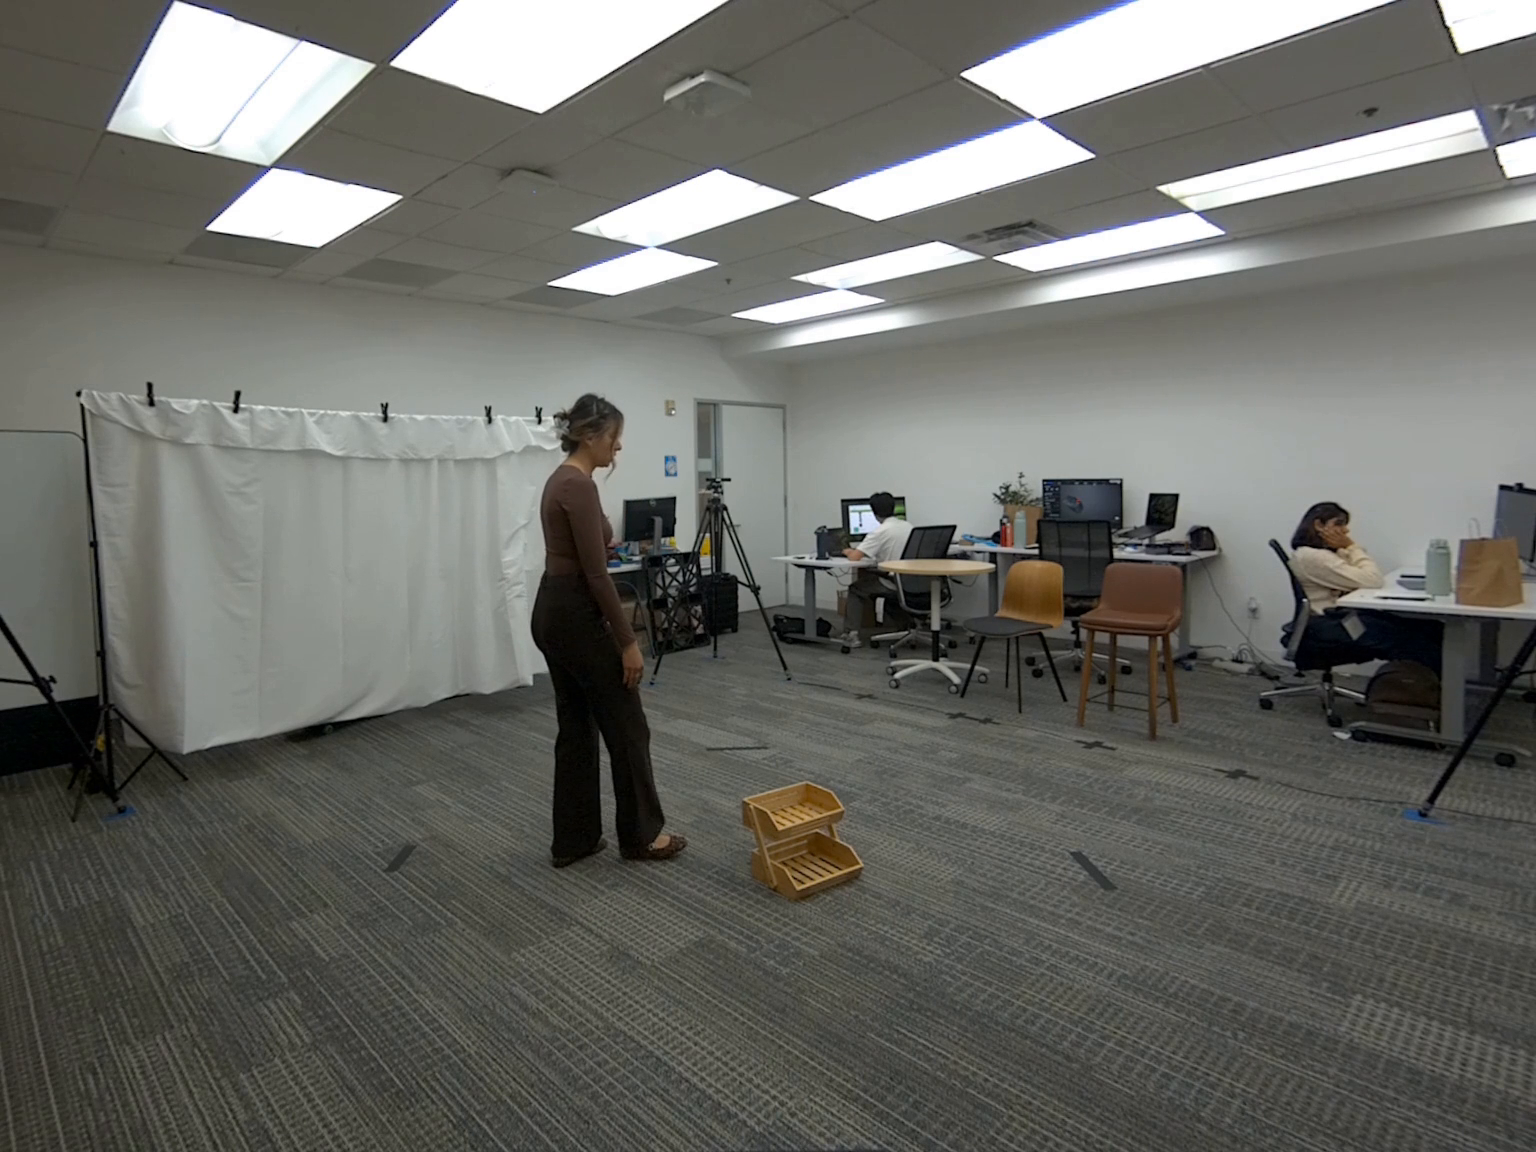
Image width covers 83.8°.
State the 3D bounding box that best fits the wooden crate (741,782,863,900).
[{"bbox_3d":[0.123,0.917,2.997,0.316,0.272,0.311,-5,6,-37],"label":"wooden crate"}]
